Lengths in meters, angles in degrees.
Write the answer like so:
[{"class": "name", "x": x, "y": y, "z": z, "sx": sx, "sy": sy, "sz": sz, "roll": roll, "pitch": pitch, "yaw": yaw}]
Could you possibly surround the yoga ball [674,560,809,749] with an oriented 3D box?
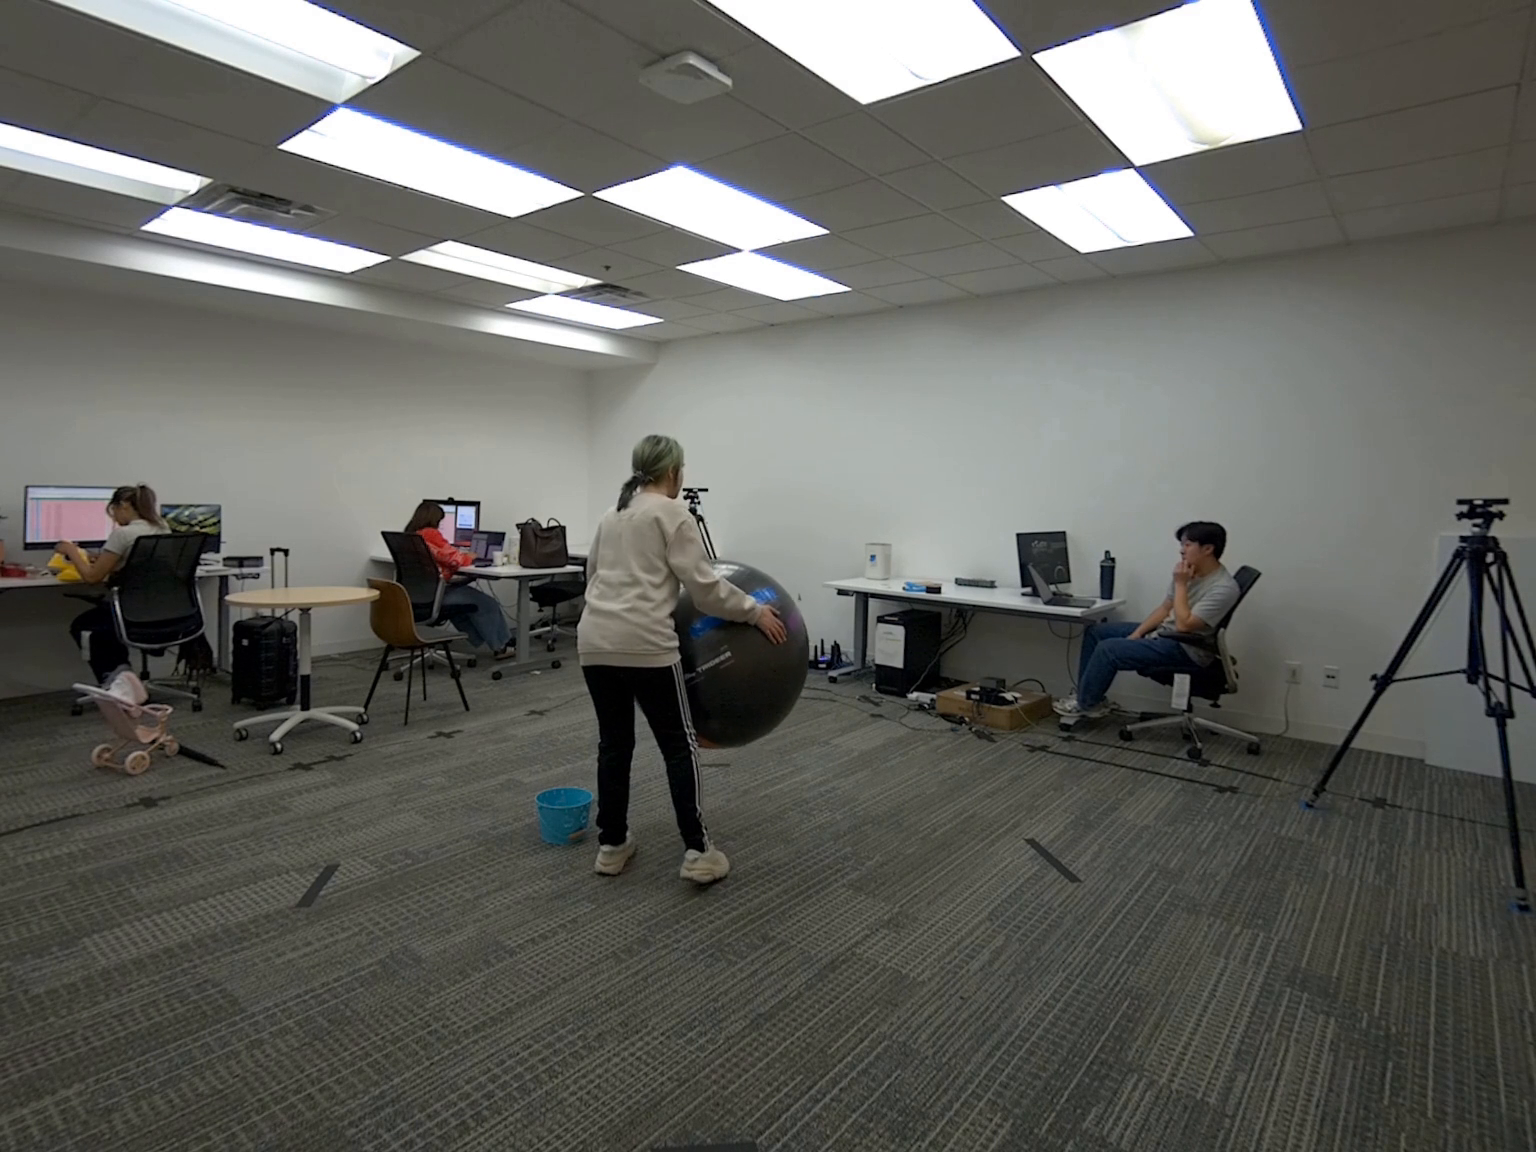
[{"class": "yoga ball", "x": -0.207, "y": 0.320, "z": 3.448, "sx": 0.757, "sy": 0.755, "sz": 0.762, "roll": 1, "pitch": 4, "yaw": -2}]
